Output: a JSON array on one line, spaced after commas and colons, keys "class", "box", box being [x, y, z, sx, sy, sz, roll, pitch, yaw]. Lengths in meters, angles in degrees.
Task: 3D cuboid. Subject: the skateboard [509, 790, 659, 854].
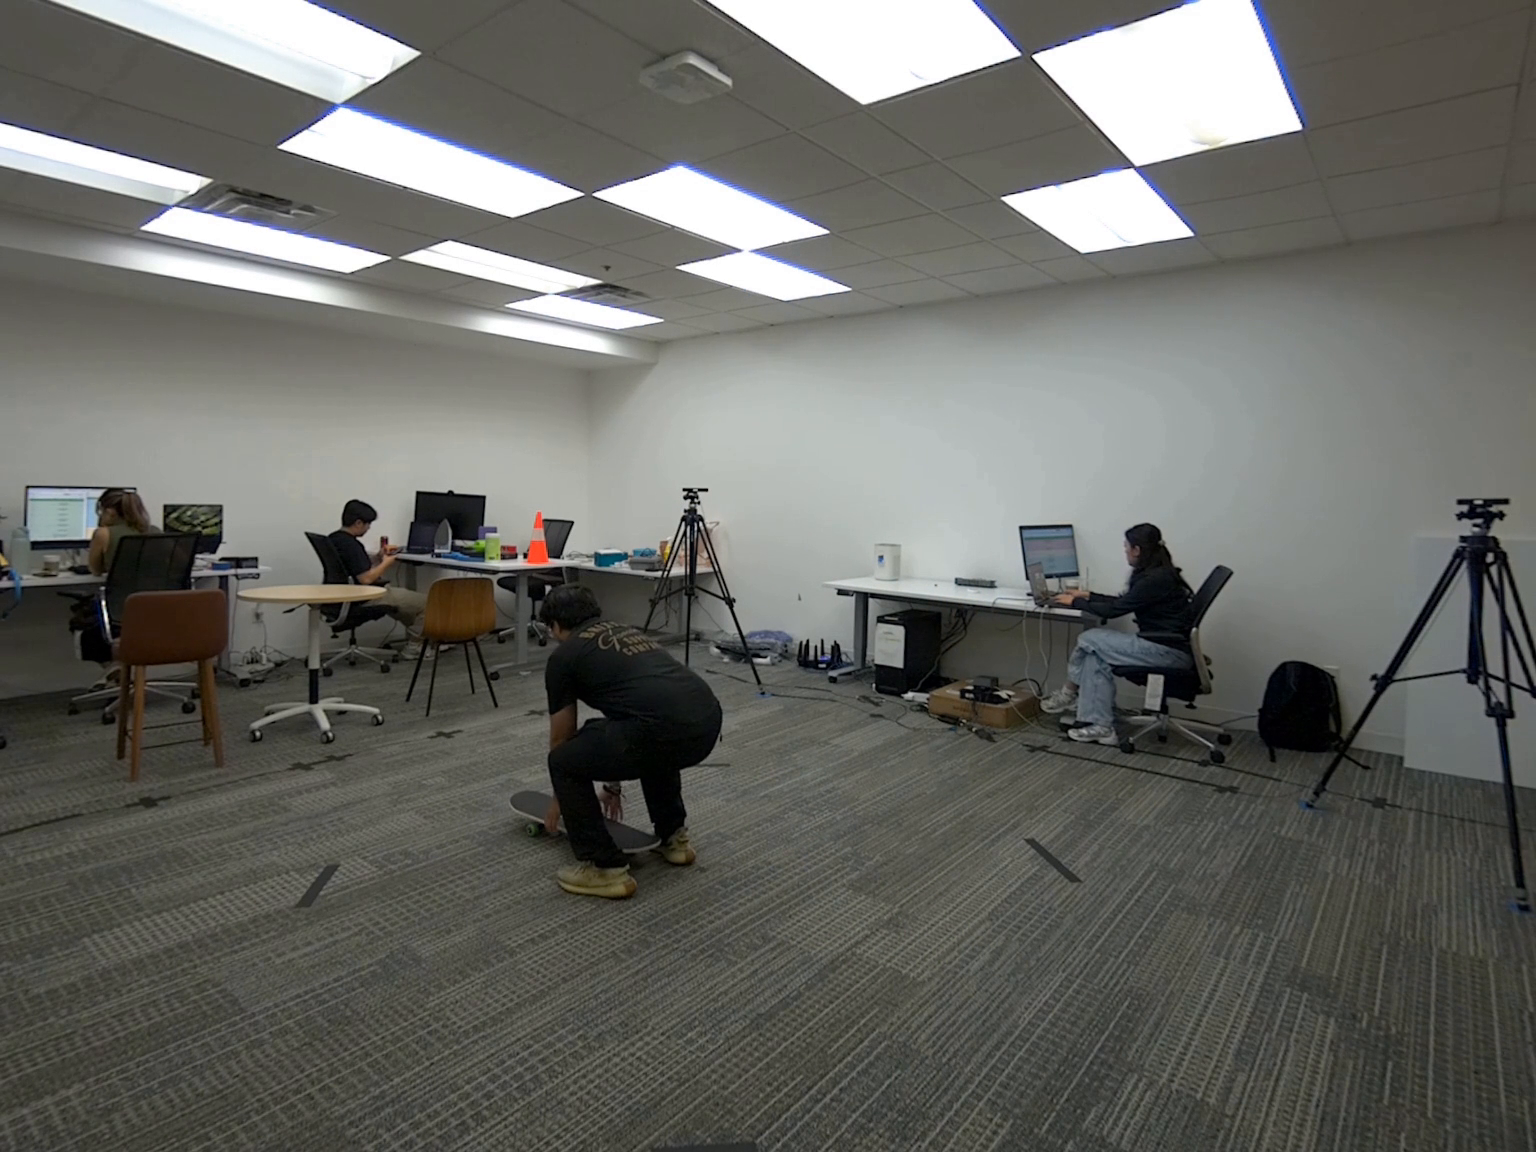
[{"class": "skateboard", "box": [-0.742, 0.985, 3.310, 0.812, 0.110, 0.188, 6, 6, 38]}]
